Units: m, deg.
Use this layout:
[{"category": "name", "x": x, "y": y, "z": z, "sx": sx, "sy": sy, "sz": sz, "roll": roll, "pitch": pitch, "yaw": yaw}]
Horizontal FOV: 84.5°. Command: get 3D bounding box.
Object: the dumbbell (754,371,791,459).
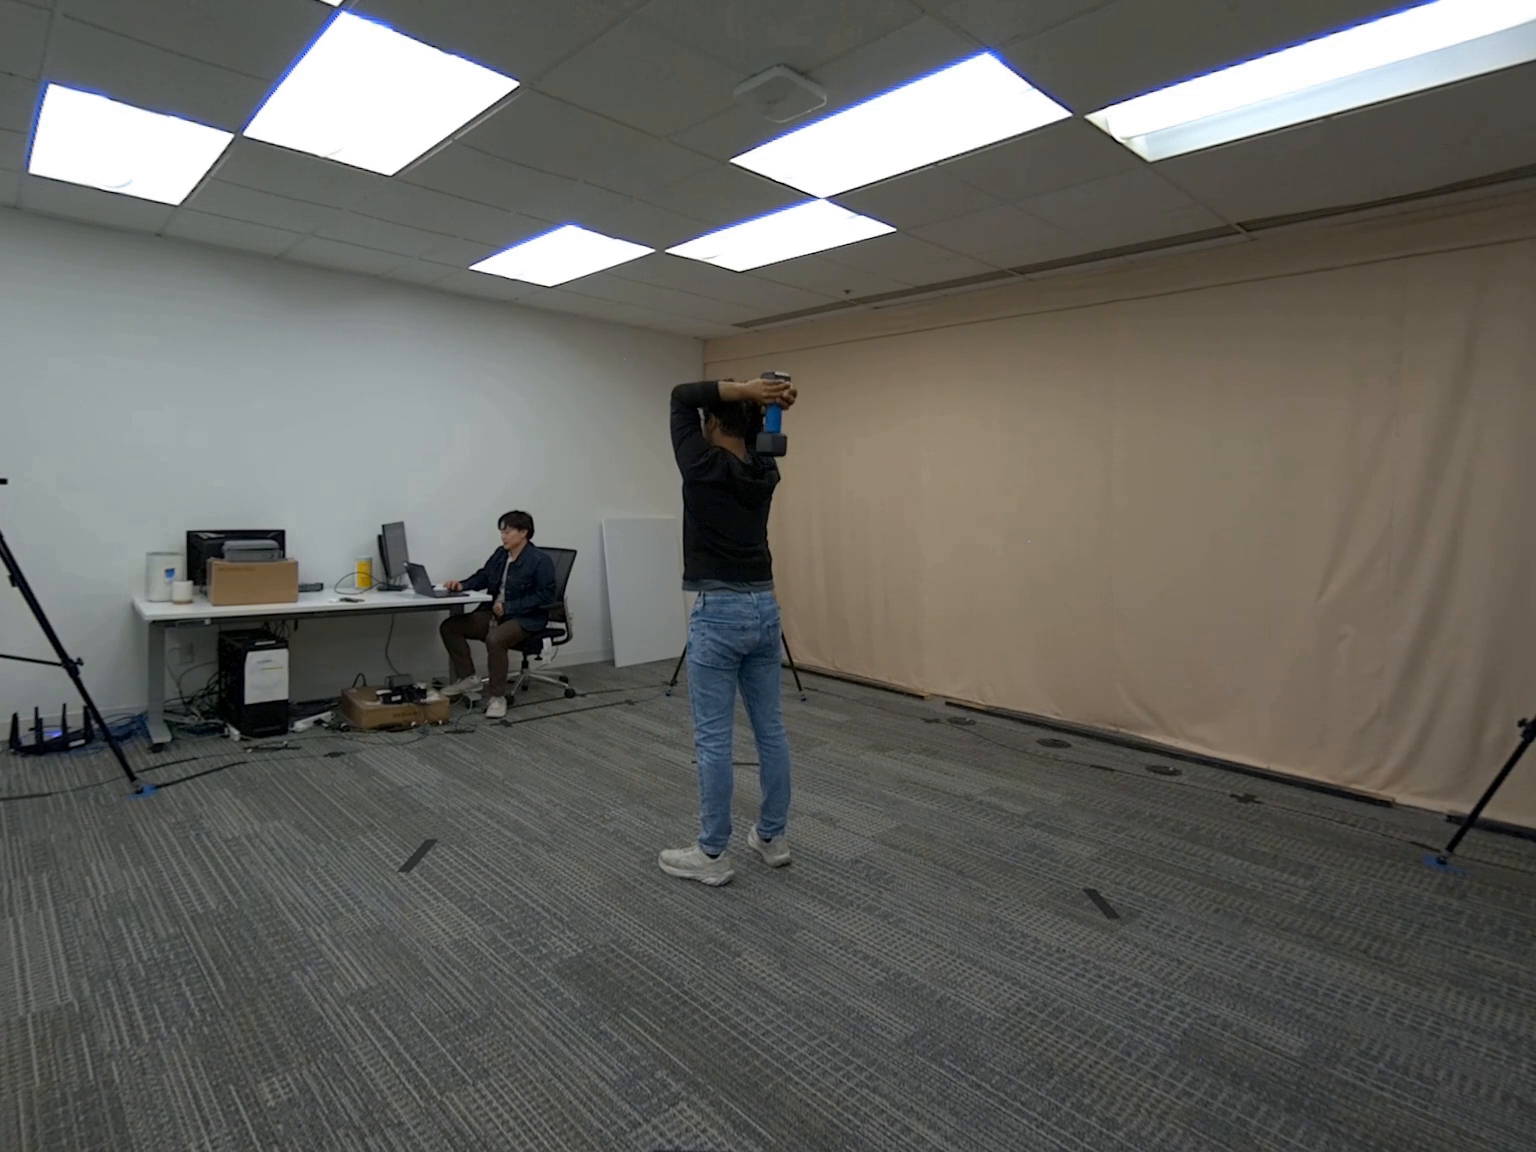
[{"category": "dumbbell", "x": -0.003, "y": -0.586, "z": 3.009, "sx": 0.120, "sy": 0.294, "sz": 0.111, "roll": 3, "pitch": -2, "yaw": -36}]
